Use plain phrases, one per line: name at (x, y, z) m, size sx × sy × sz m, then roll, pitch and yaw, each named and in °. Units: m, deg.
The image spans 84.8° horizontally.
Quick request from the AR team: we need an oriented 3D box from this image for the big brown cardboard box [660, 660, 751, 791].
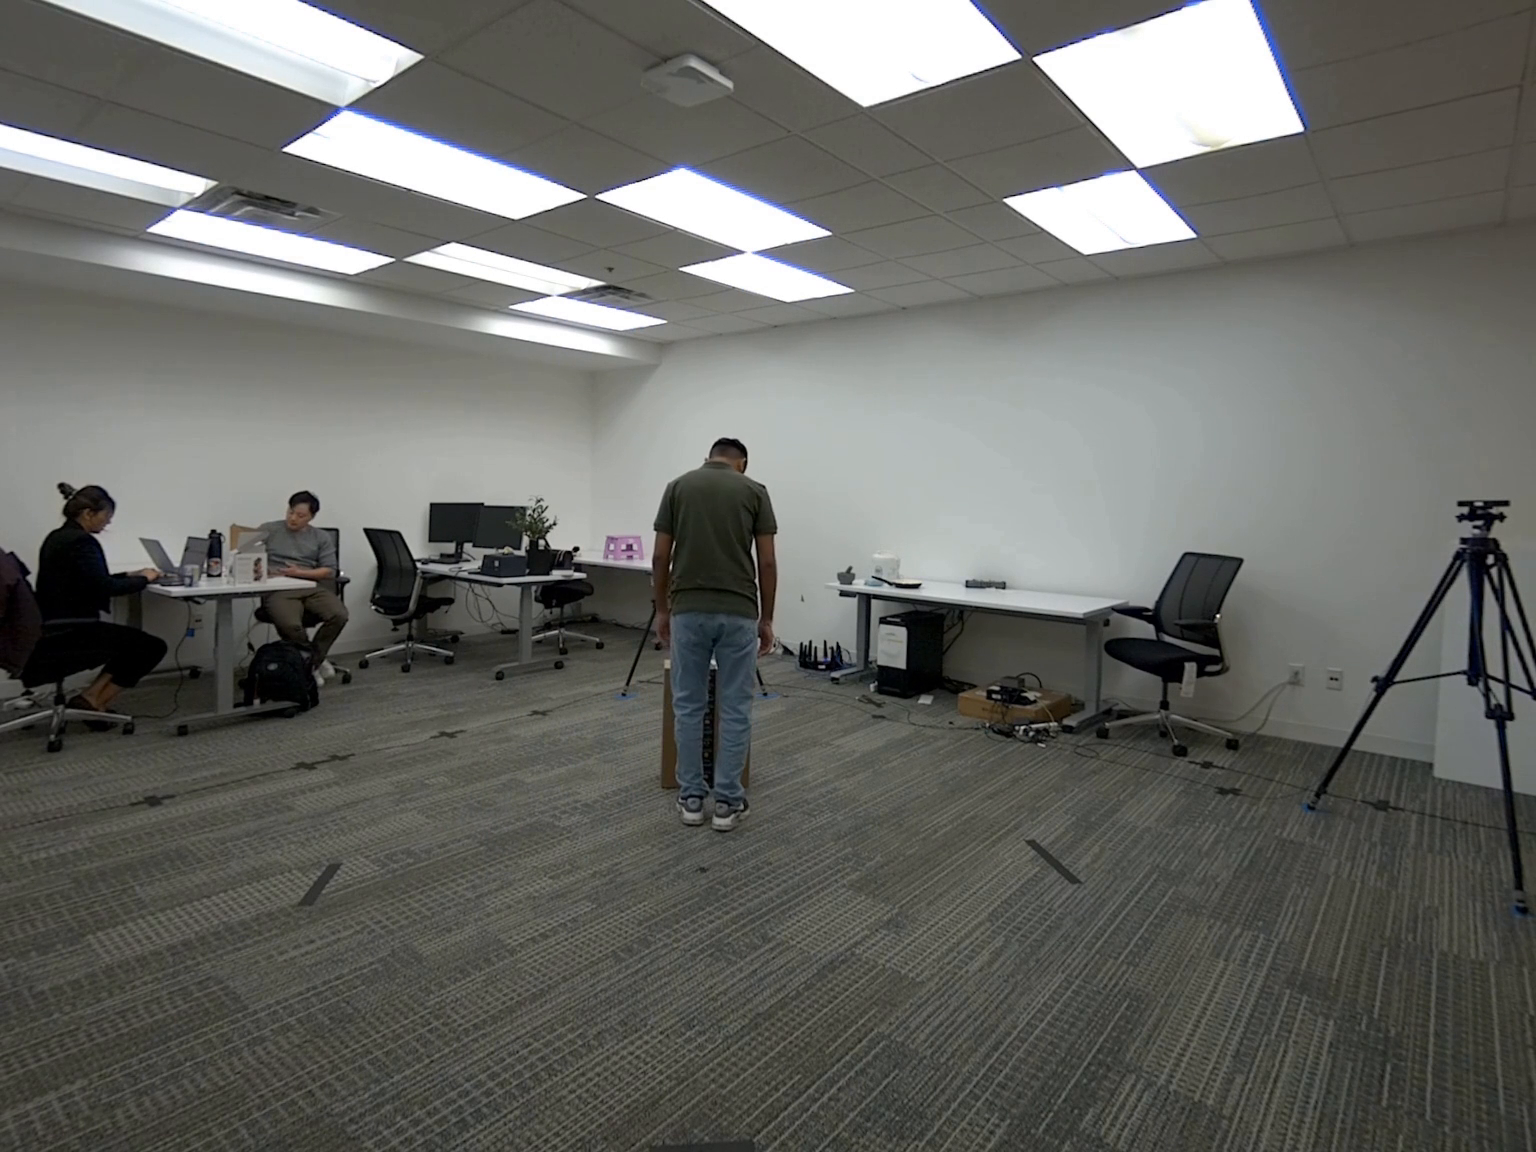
big brown cardboard box at (-0.306, 0.698, 4.062) m, size 0.416 × 0.587 × 0.235 m, roll 2°, pitch 4°, yaw -4°
